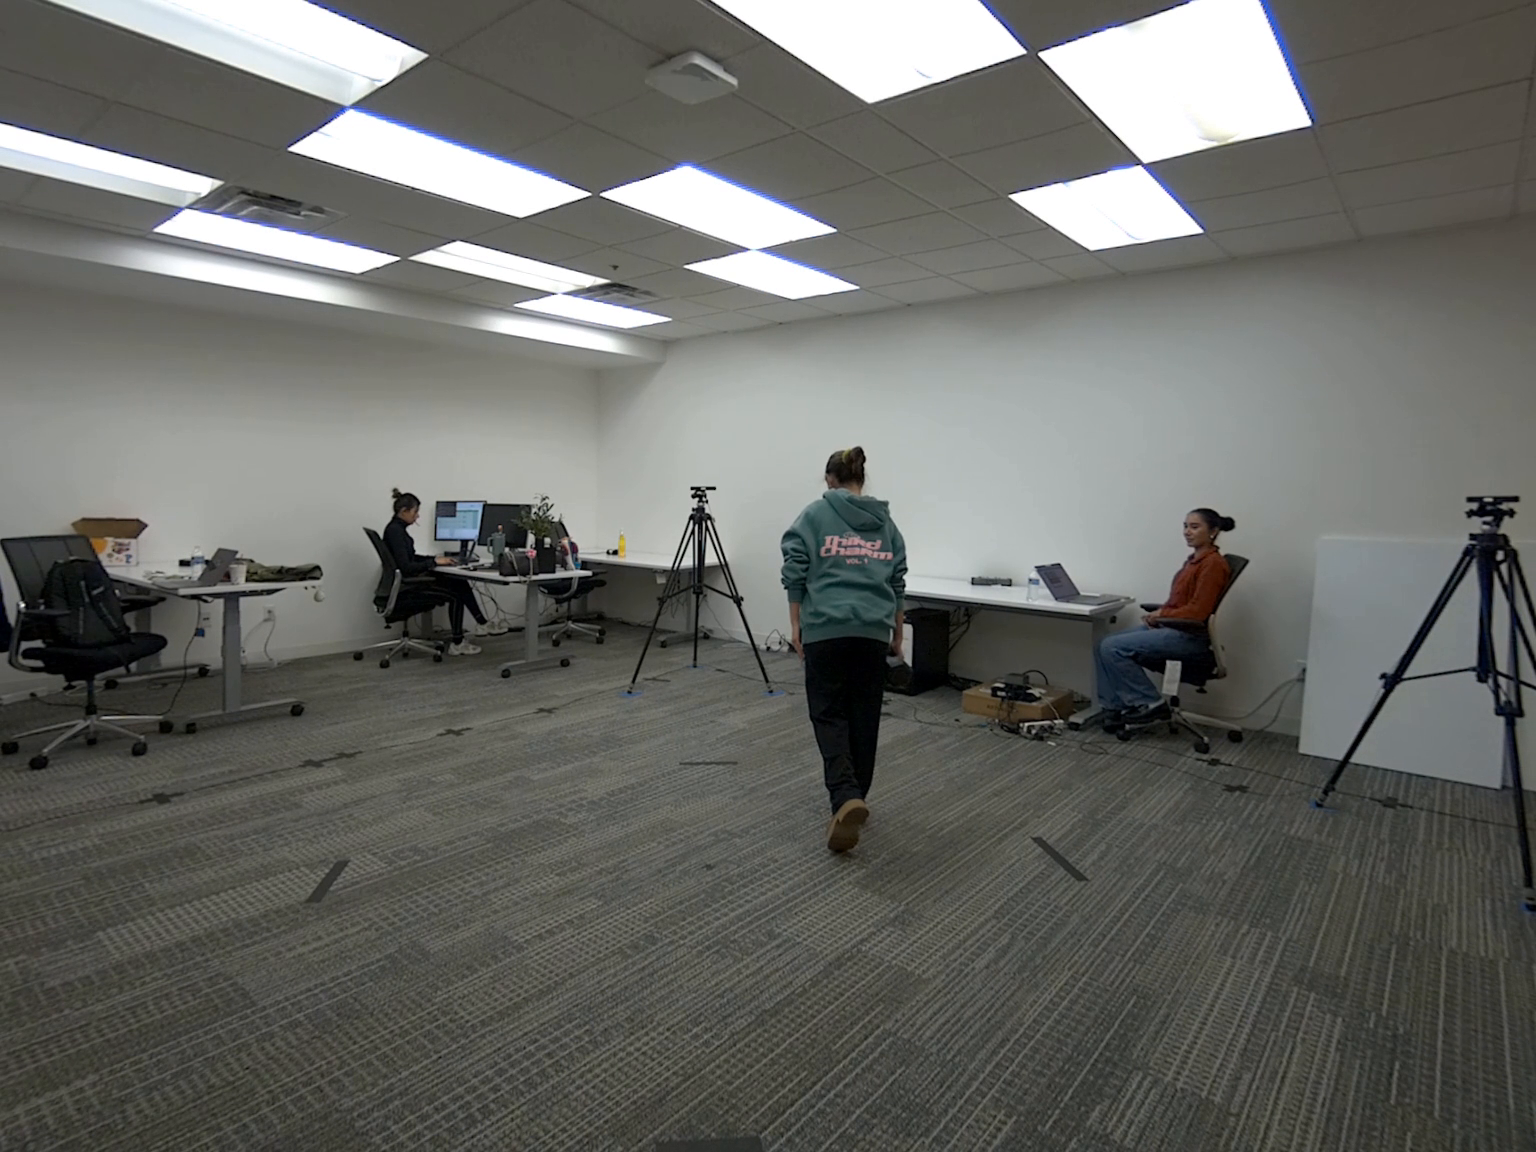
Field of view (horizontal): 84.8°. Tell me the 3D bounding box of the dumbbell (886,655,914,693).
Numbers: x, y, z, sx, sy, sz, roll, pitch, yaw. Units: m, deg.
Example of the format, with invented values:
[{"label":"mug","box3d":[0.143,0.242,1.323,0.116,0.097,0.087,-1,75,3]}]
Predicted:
[{"label":"dumbbell","box3d":[0.514,0.371,3.644,0.107,0.122,0.299,15,12,-10]}]
